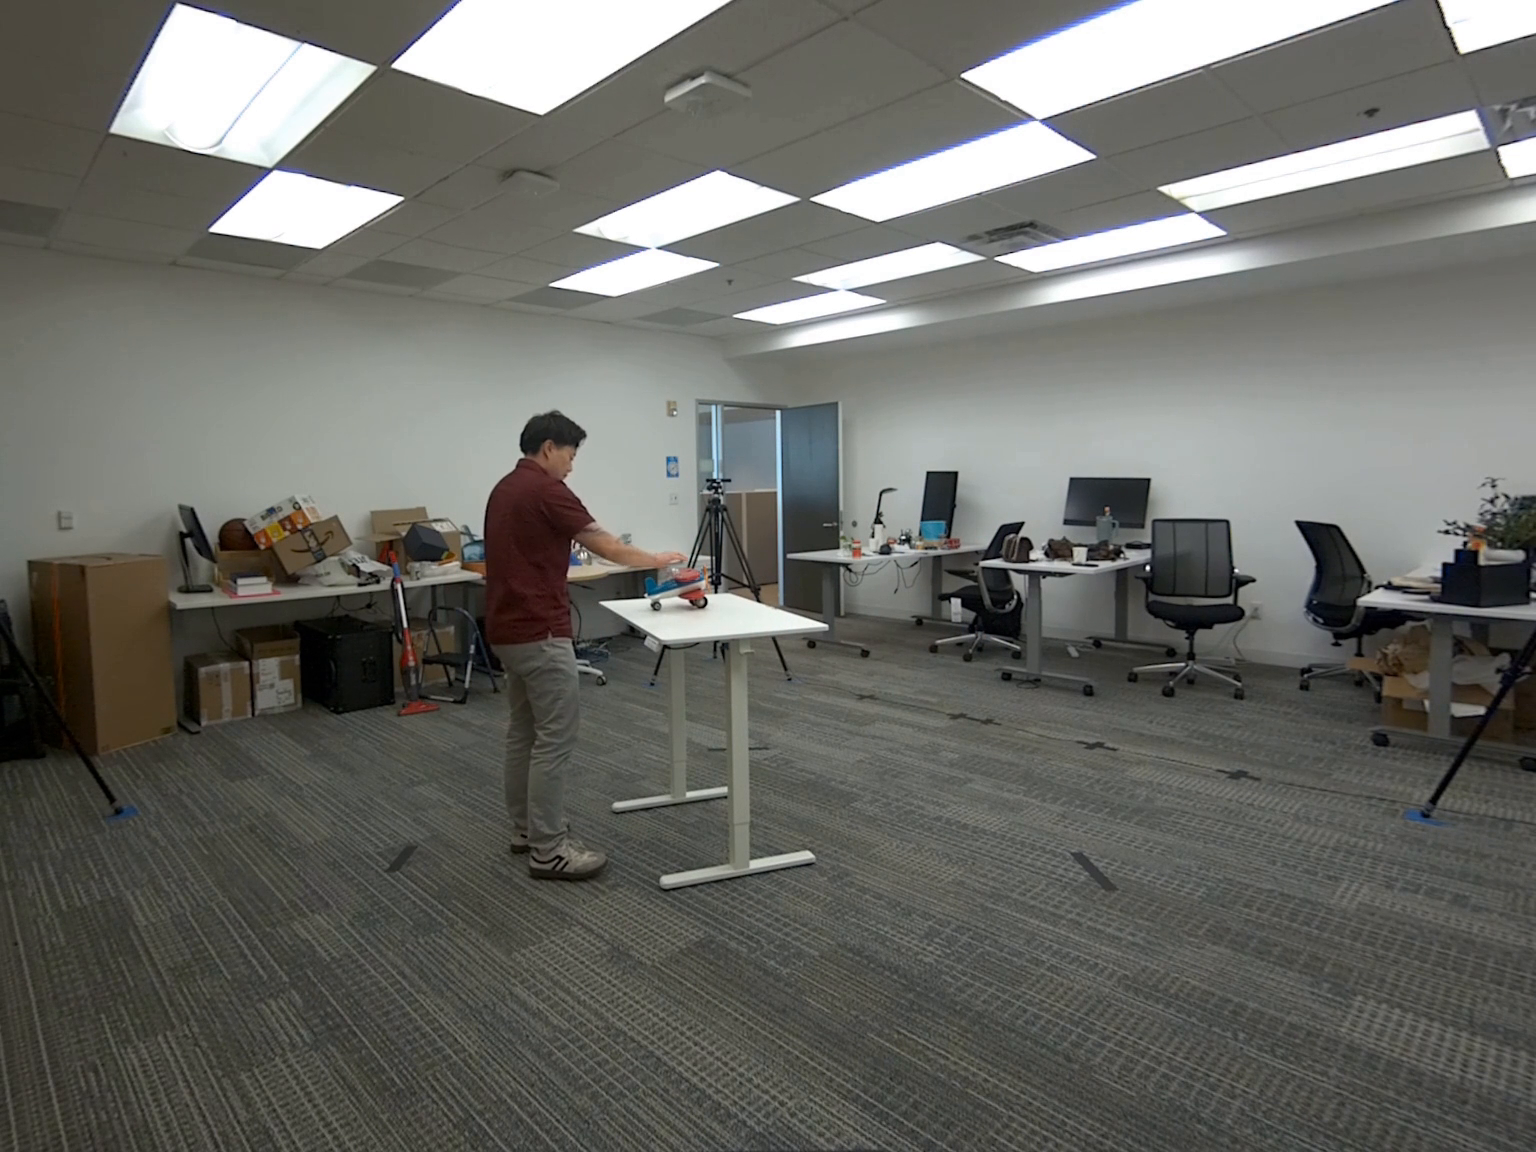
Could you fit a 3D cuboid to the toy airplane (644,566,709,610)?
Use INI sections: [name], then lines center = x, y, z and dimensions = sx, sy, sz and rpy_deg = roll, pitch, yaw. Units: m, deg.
[toy airplane]
center = -0.357, 0.055, 3.427
dimensions = 0.259, 0.156, 0.252
rpy_deg = 3, 5, 44
